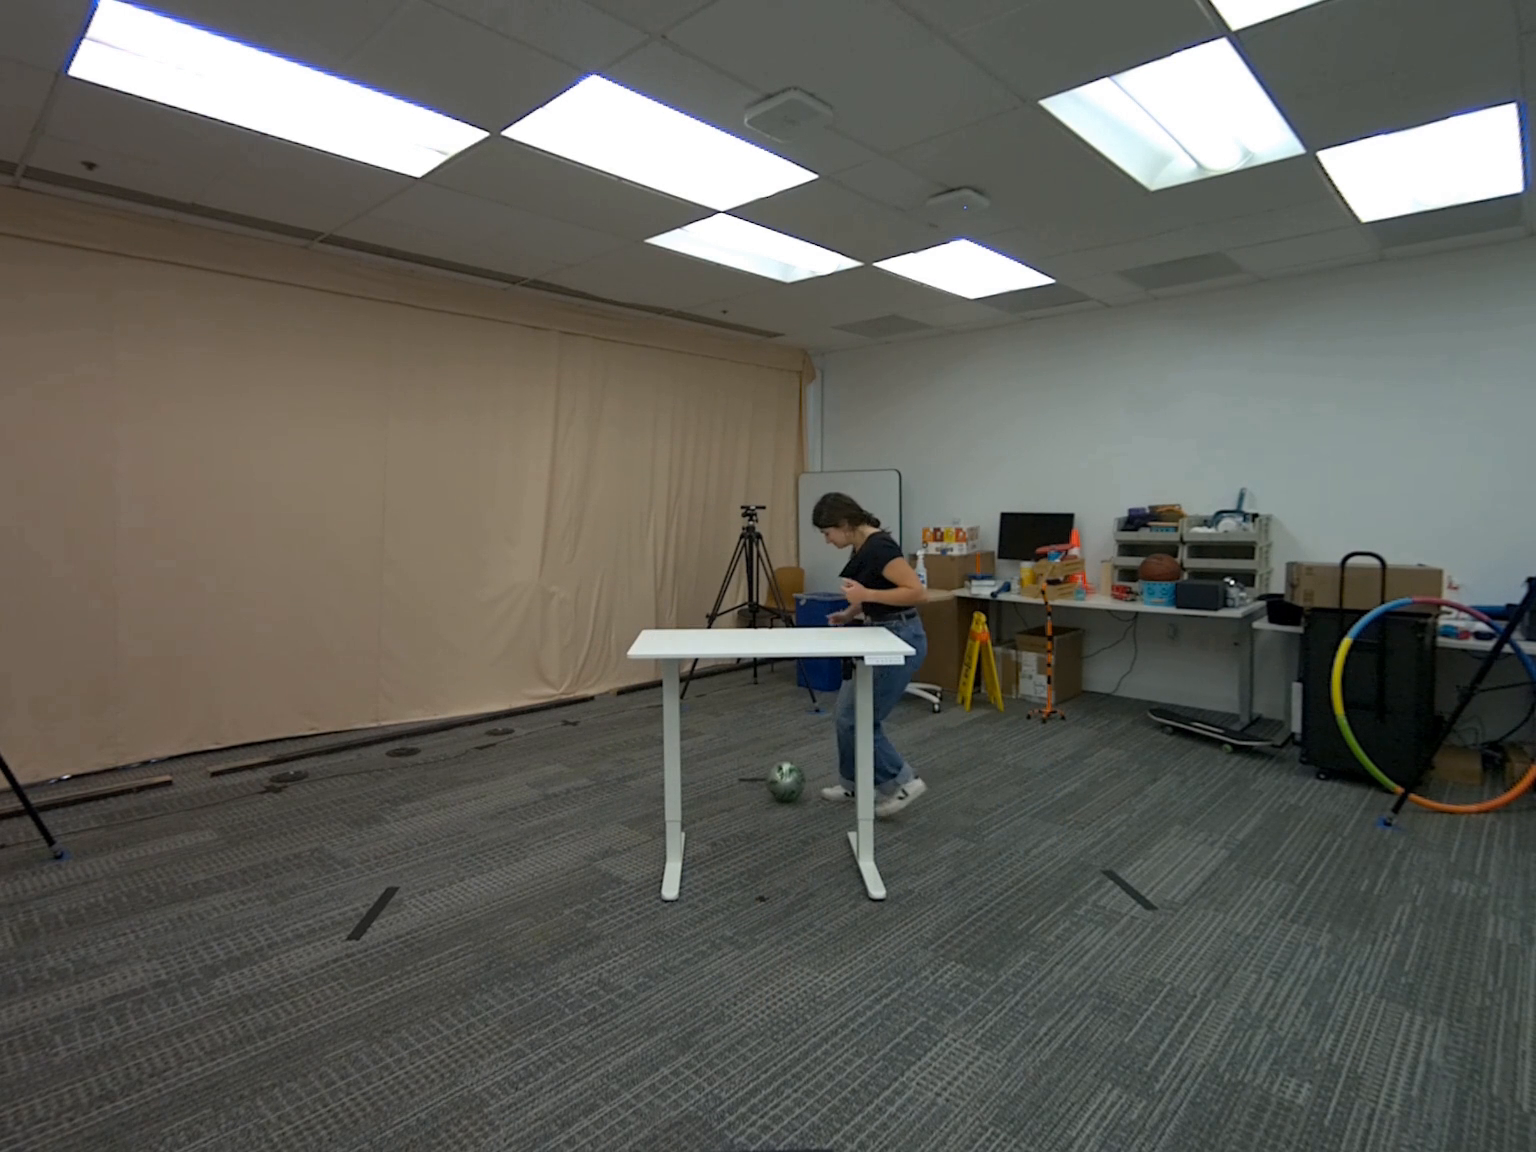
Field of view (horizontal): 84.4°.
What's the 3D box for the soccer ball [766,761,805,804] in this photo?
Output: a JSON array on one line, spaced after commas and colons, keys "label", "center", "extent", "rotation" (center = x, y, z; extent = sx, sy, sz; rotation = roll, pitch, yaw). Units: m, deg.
[{"label": "soccer ball", "center": [0.084, 0.973, 3.985], "extent": [0.187, 0.187, 0.188], "rotation": [0, 4, -2]}]
